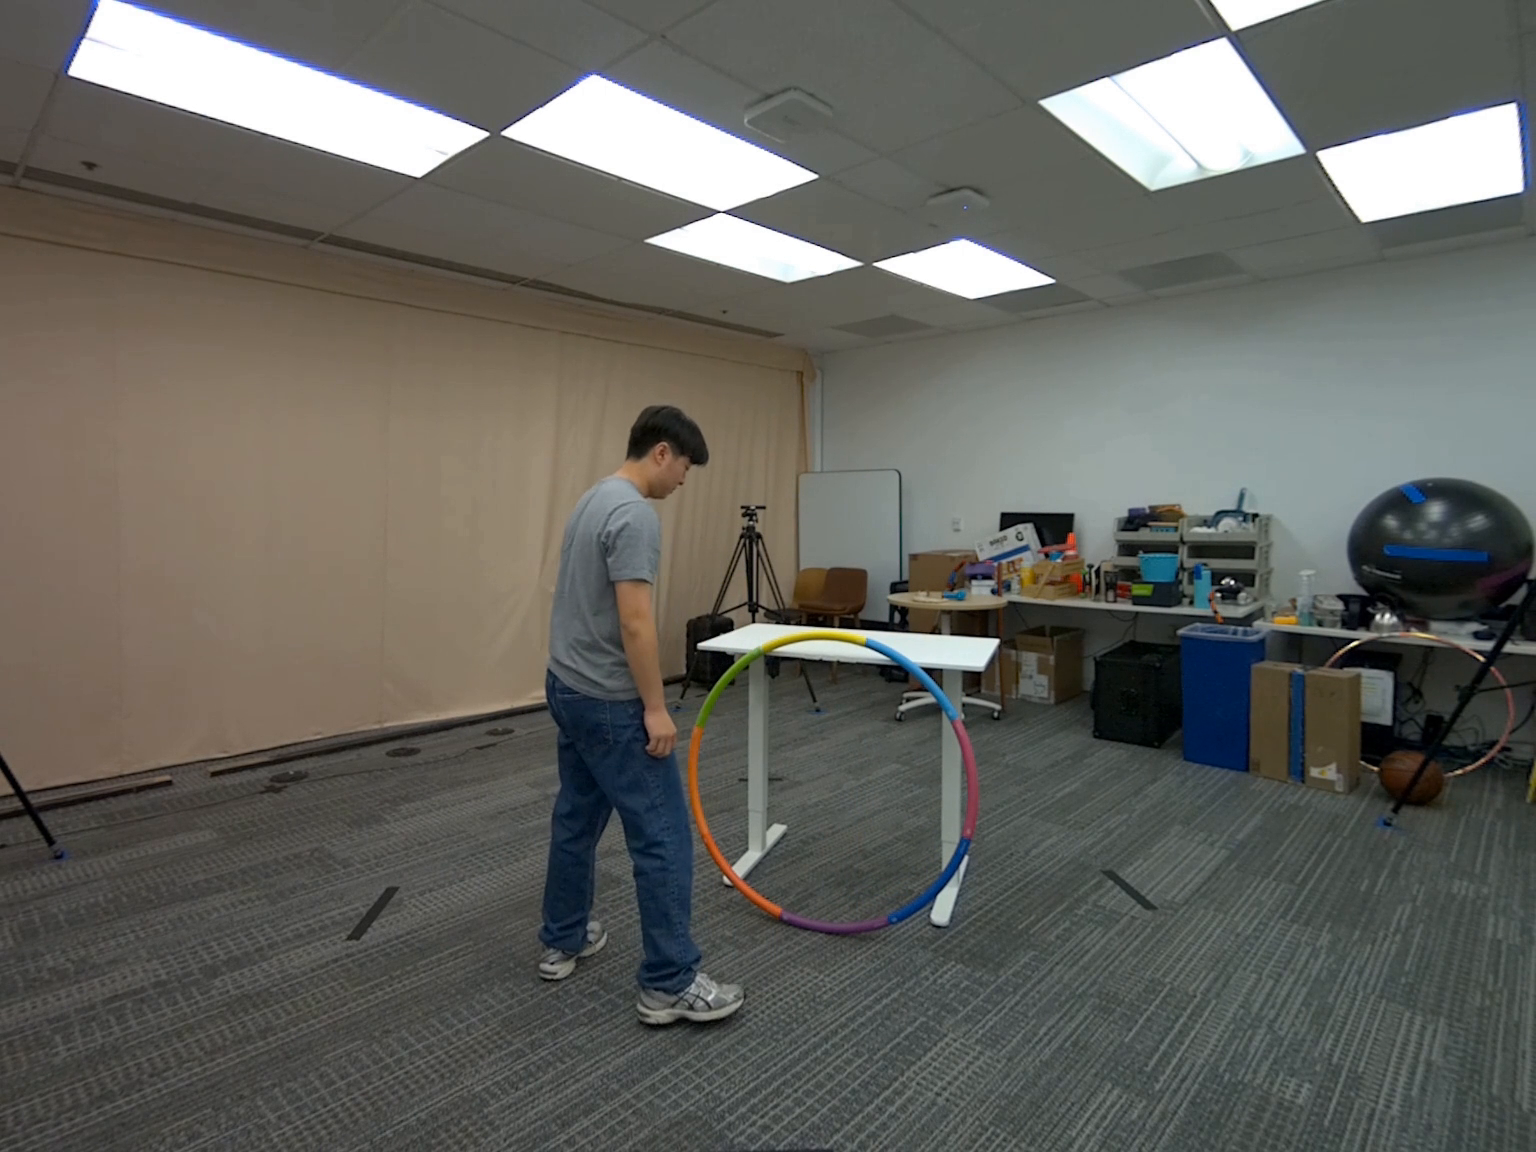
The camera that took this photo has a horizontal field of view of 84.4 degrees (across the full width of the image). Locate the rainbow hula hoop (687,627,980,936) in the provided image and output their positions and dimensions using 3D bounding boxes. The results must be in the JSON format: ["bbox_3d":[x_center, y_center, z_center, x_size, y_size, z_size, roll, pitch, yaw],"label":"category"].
[{"bbox_3d":[0.186,0.677,2.807,1.001,0.982,0.034,1,-7,22],"label":"rainbow hula hoop"}]
